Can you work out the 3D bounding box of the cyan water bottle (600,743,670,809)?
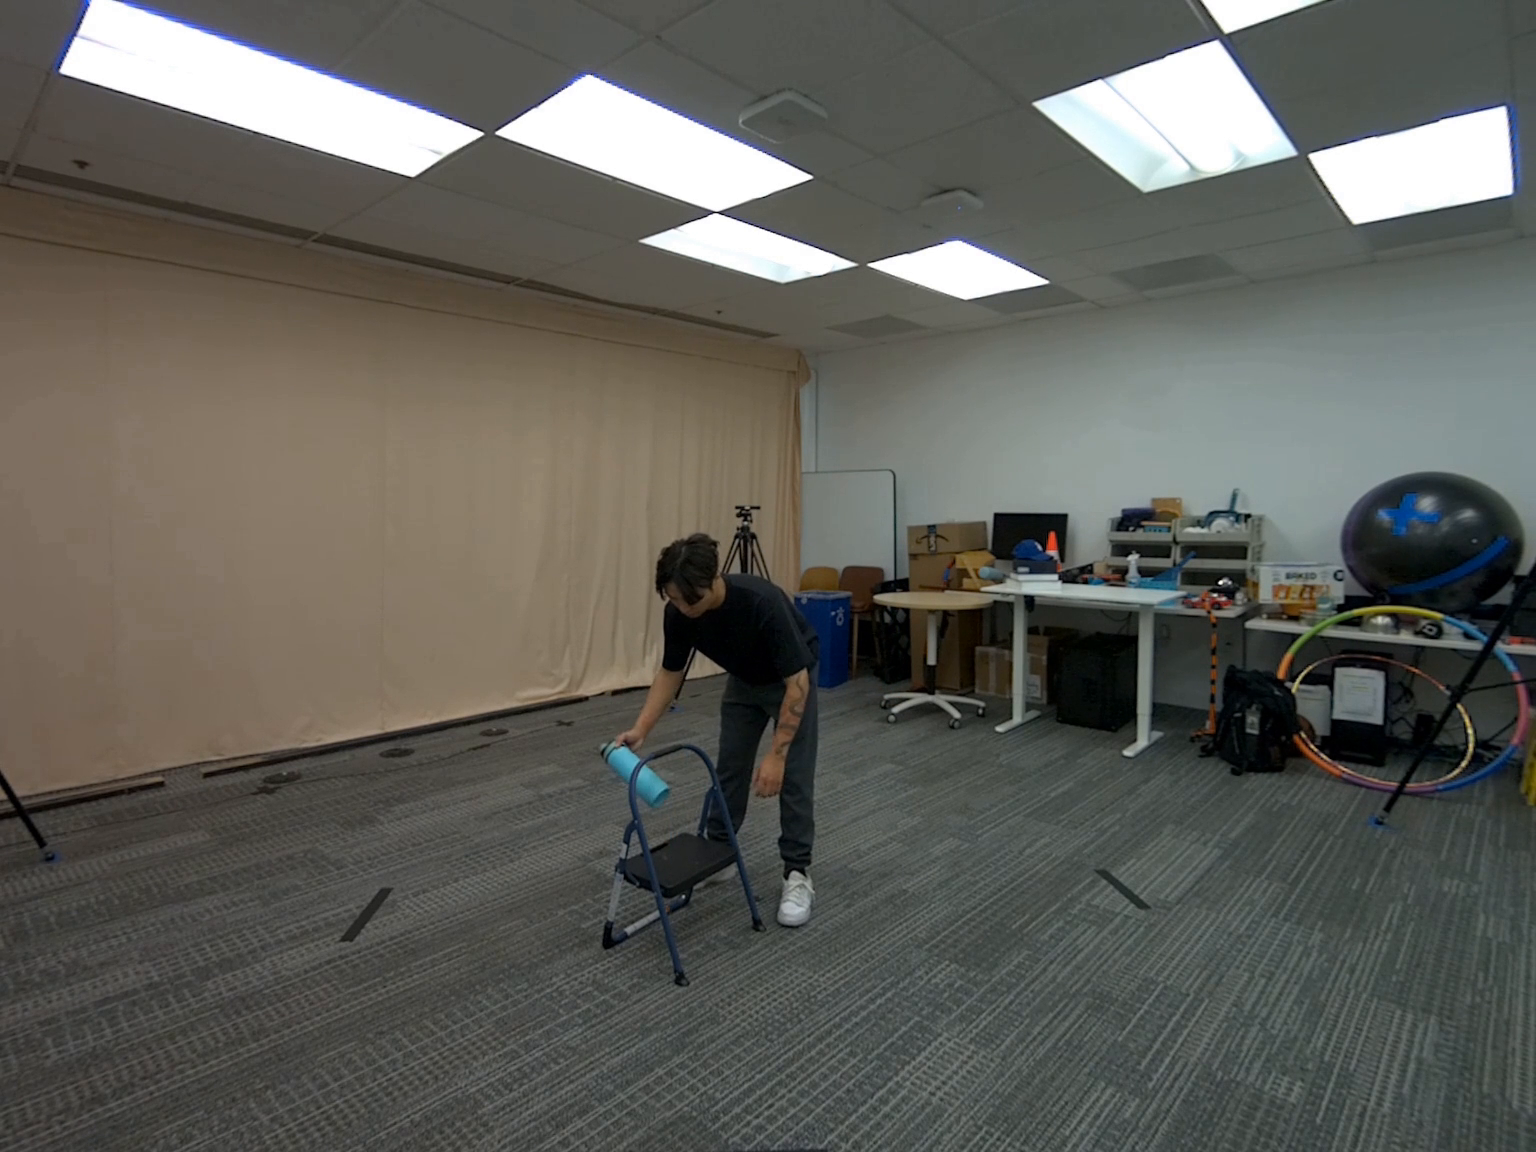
[{"bbox_3d":[-0.447,0.653,2.847,0.292,0.092,0.090,36,21,27],"label":"cyan water bottle"}]
